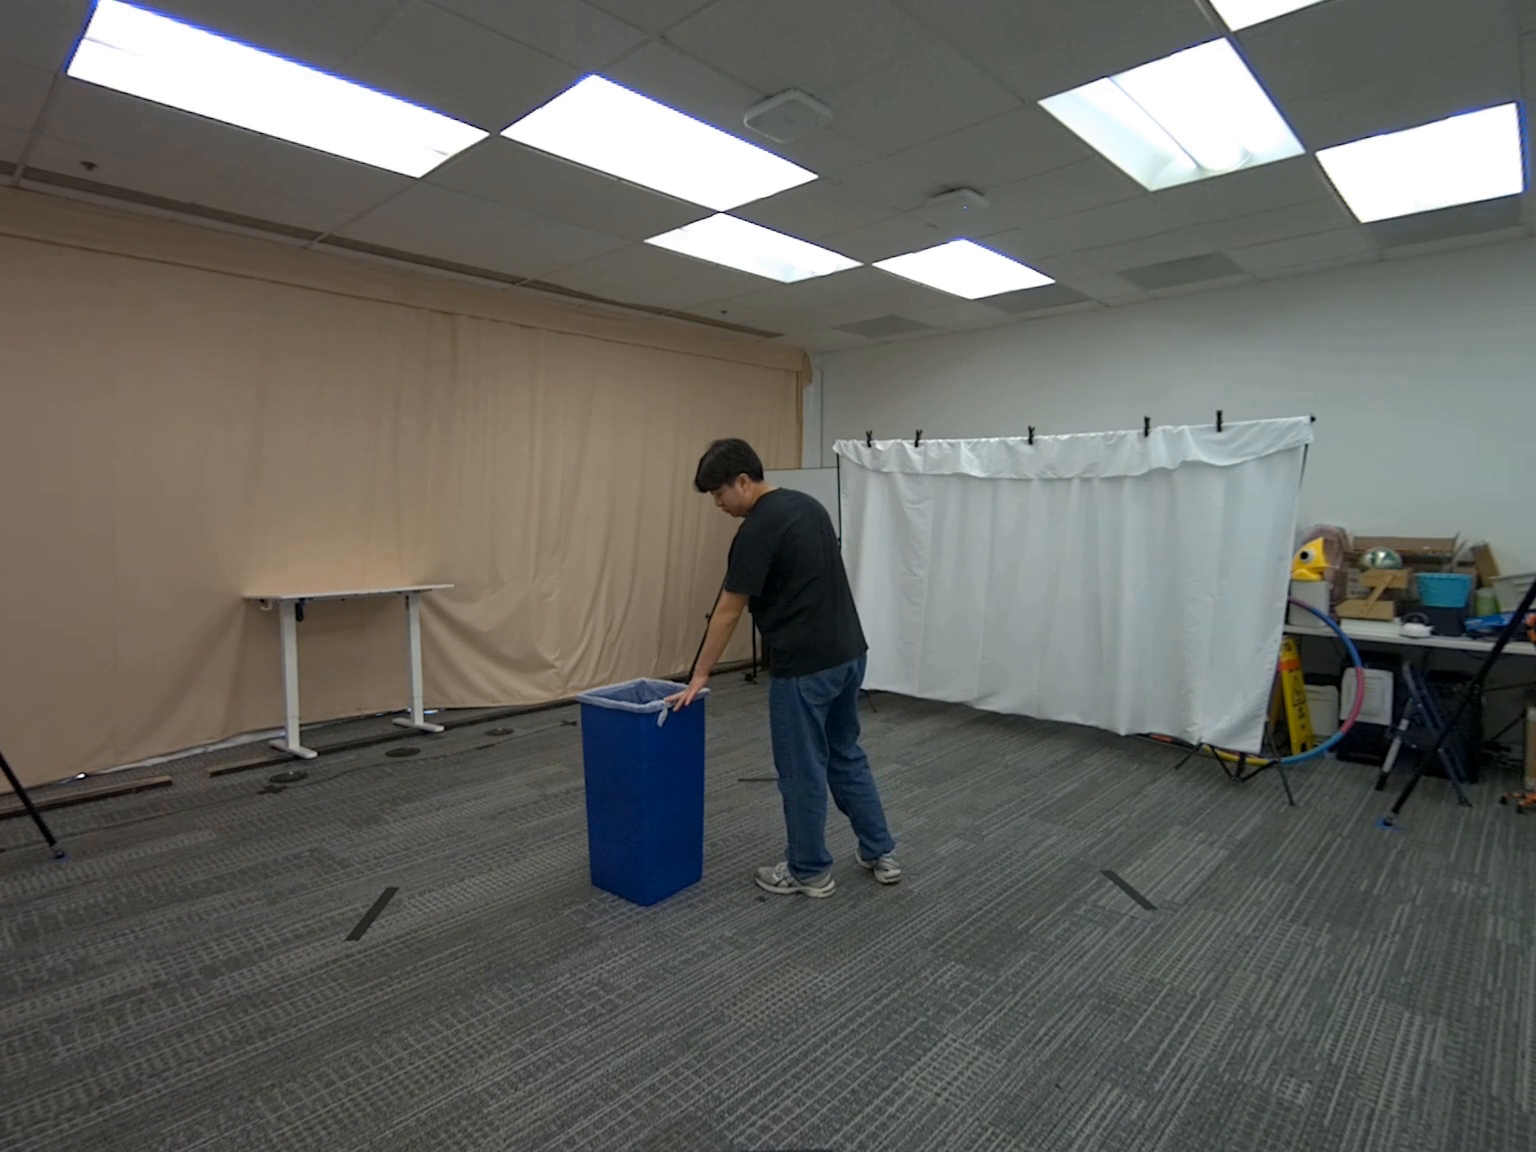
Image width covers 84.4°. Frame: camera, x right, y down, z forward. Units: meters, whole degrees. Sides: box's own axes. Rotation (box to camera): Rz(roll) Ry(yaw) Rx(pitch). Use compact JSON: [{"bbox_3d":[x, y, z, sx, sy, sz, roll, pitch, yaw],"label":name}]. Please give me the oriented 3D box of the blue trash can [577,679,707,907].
[{"bbox_3d":[-0.463,0.782,3.118,0.386,0.712,0.367,2,3,38],"label":"blue trash can"}]
